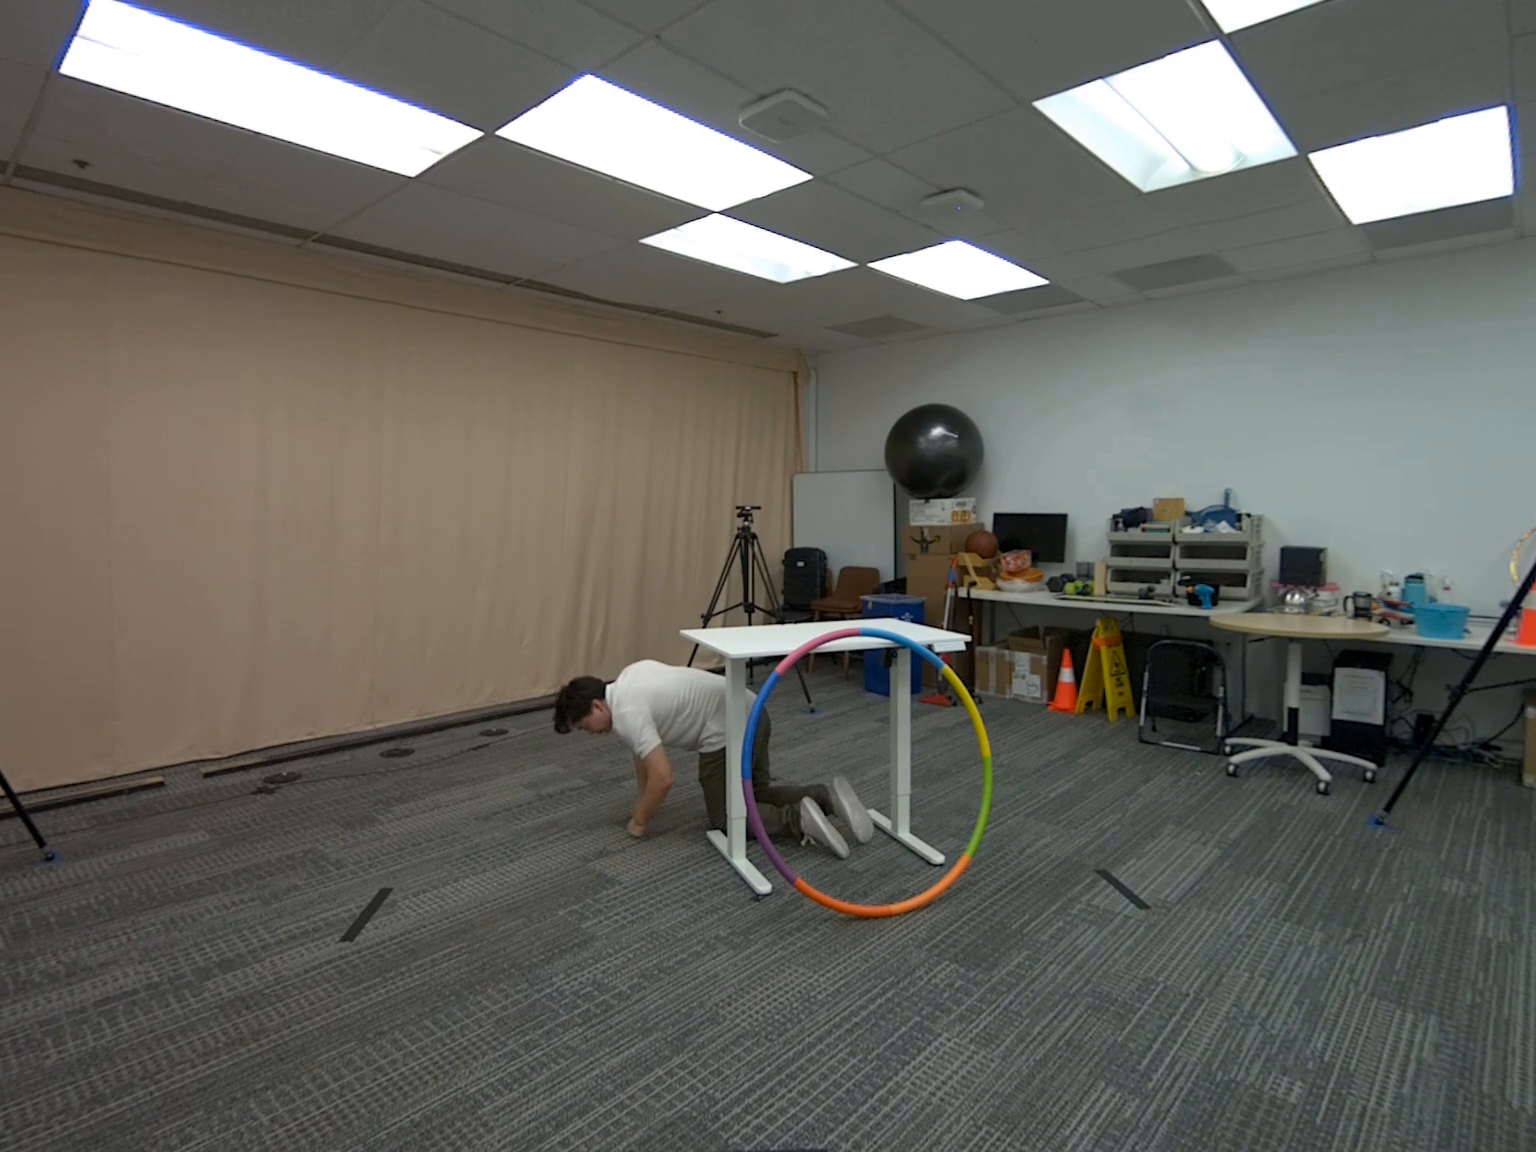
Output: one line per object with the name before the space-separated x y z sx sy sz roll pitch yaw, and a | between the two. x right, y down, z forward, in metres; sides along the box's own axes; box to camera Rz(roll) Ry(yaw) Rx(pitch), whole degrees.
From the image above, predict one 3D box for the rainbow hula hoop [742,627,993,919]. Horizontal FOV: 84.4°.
rainbow hula hoop | 0.386 0.676 2.962 0.958 0.987 0.036 -2 -13 -20
